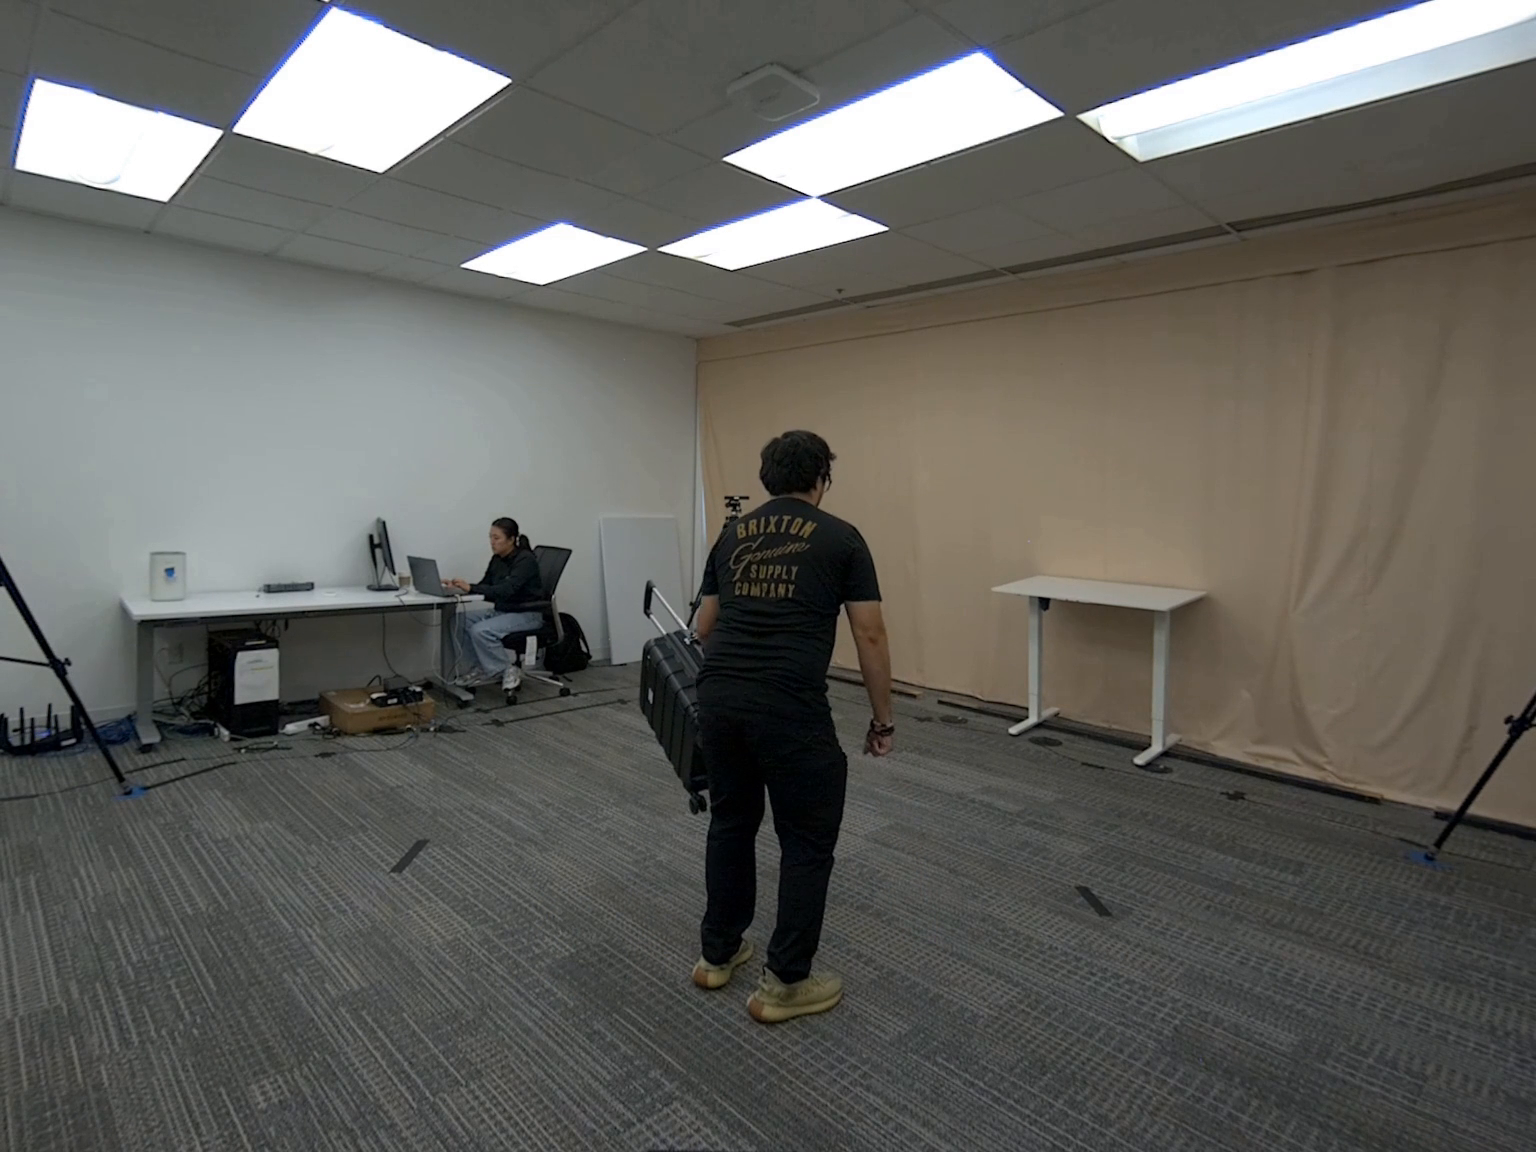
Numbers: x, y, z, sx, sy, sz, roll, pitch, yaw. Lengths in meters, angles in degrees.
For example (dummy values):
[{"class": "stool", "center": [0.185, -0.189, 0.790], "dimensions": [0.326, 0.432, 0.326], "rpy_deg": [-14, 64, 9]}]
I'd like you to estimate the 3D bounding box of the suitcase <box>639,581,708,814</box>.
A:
[{"class": "suitcase", "center": [-0.349, 0.365, 3.051], "dimensions": [0.253, 0.377, 1.011], "rpy_deg": [-11, 36, -28]}]
